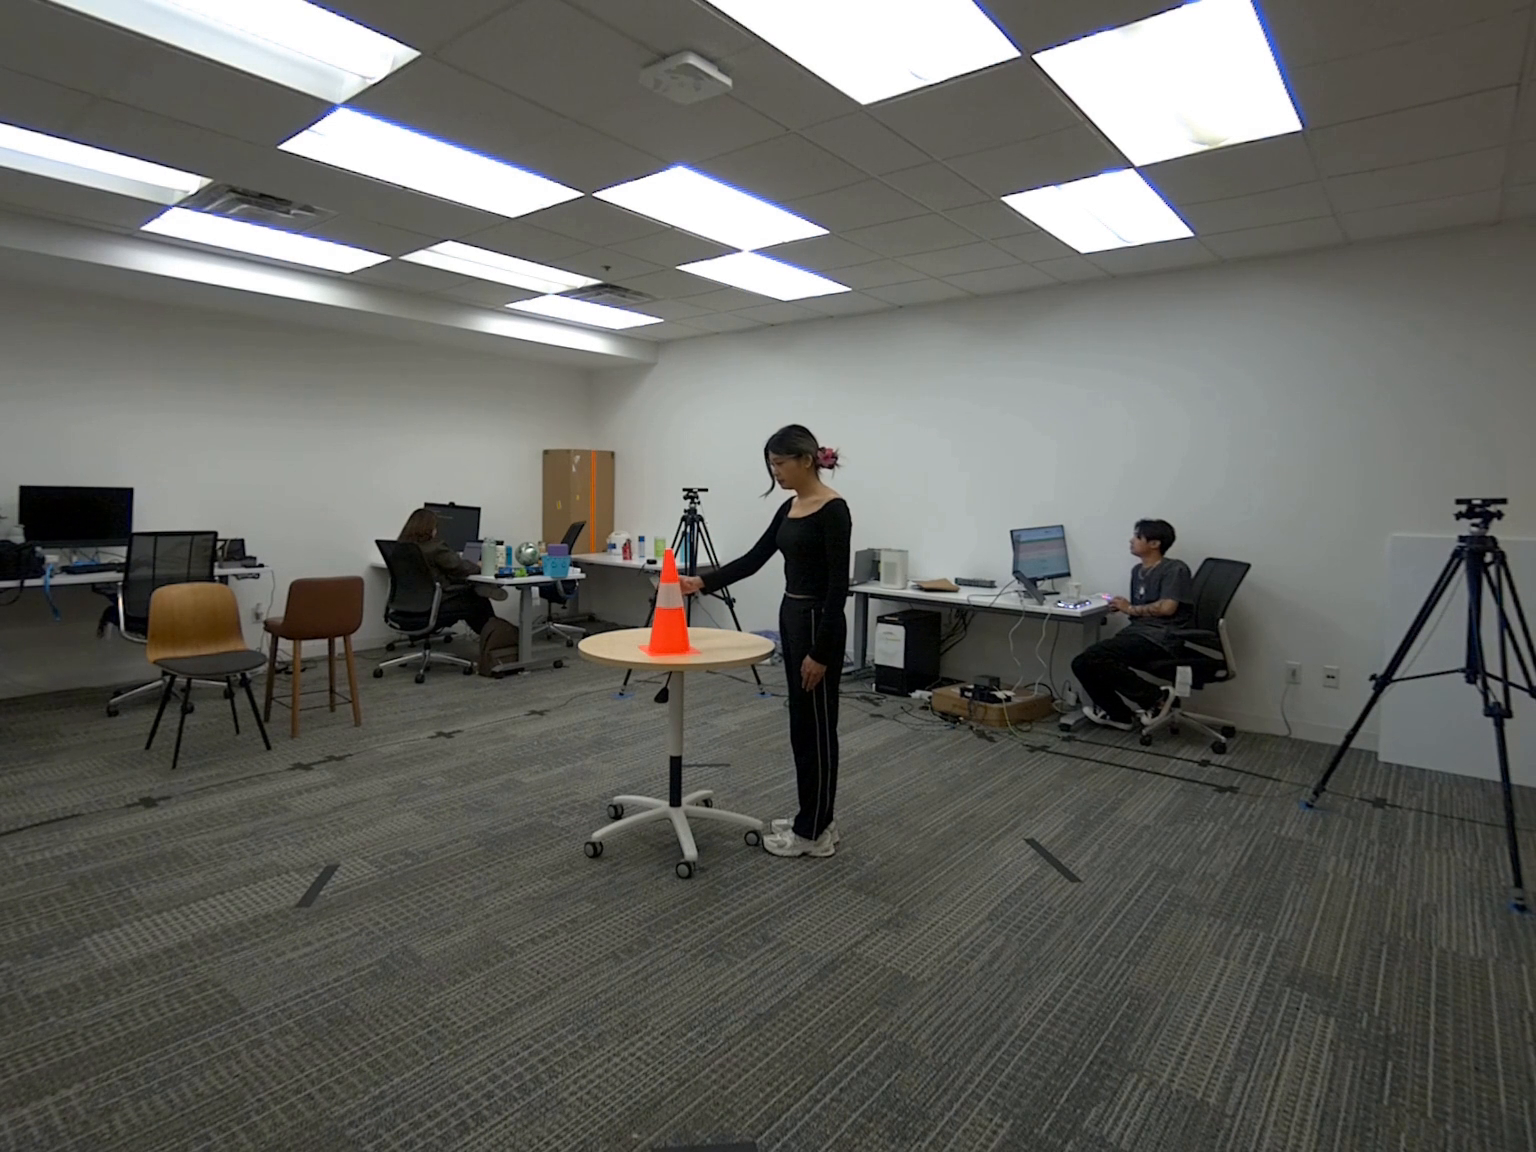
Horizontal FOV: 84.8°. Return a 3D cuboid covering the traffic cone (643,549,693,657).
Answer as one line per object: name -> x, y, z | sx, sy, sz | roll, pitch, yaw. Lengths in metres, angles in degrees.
traffic cone -> -0.378, 0.089, 3.191 | 0.199, 0.382, 0.210 | -2, 4, -20
